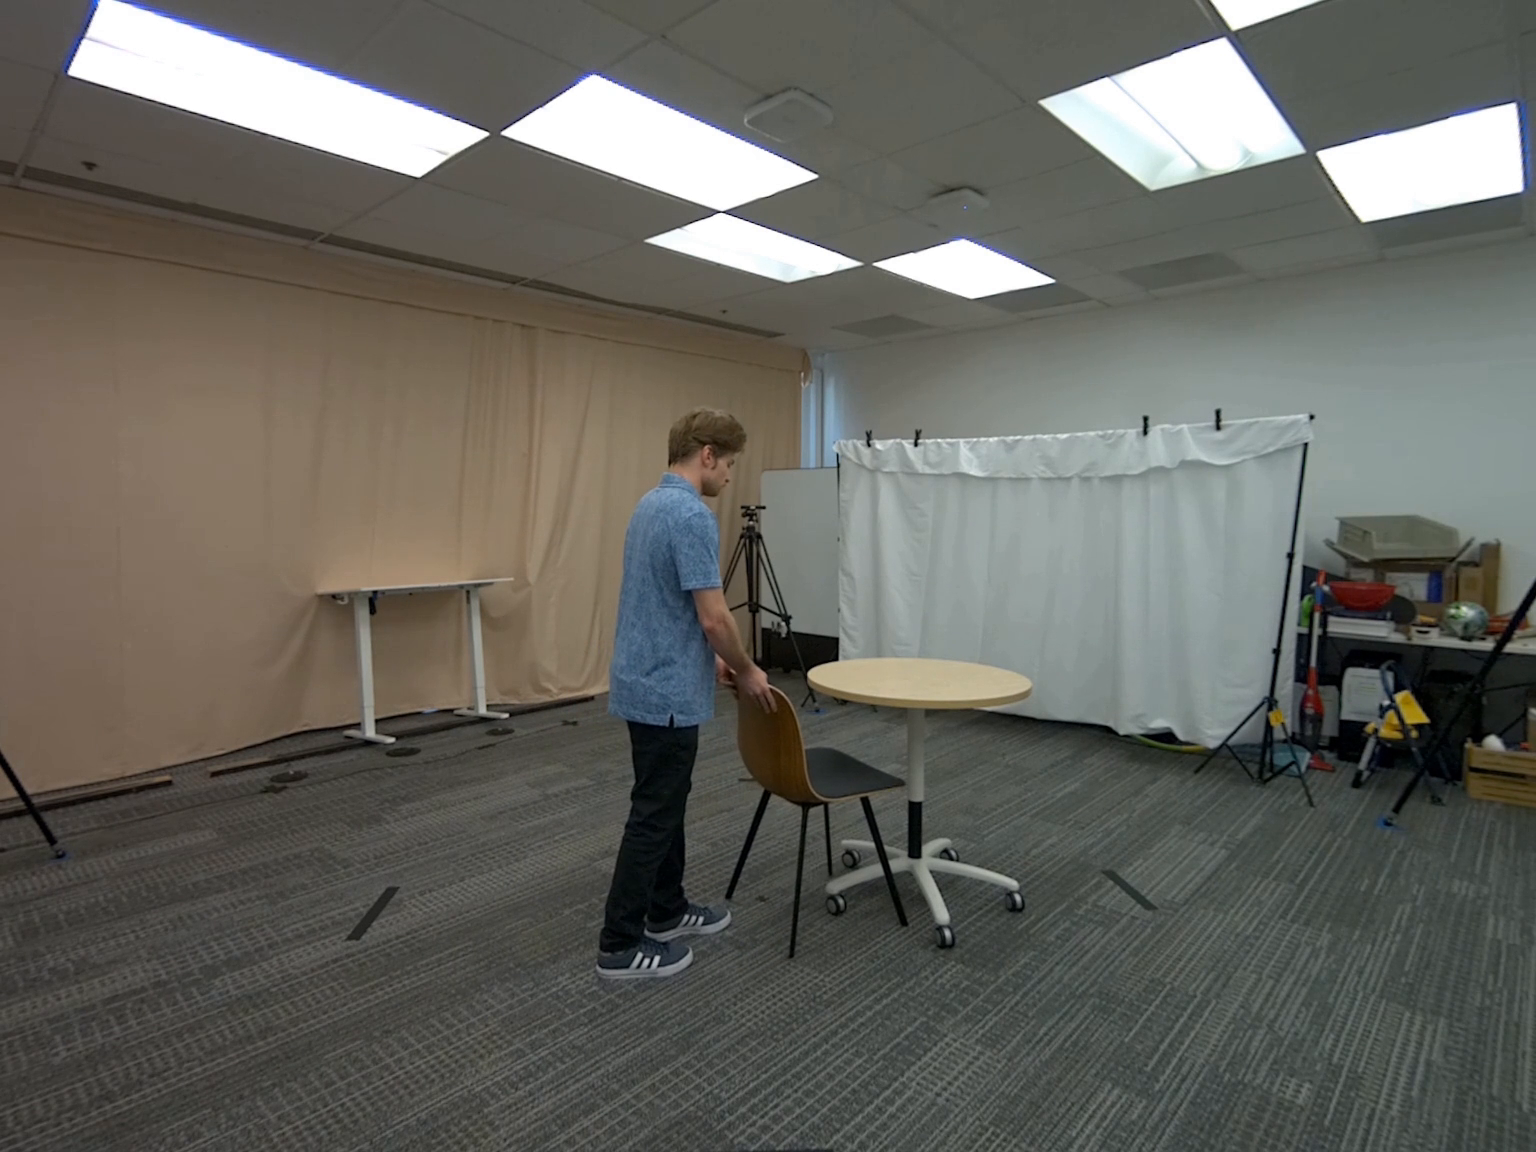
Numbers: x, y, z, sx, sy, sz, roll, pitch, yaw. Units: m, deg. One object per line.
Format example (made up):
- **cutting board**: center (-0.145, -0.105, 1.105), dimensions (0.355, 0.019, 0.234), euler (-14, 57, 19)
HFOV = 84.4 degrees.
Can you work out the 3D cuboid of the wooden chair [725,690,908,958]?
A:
- **wooden chair**: center (0.163, 0.725, 2.858), dimensions (0.510, 0.874, 0.491), euler (-6, 6, -28)
